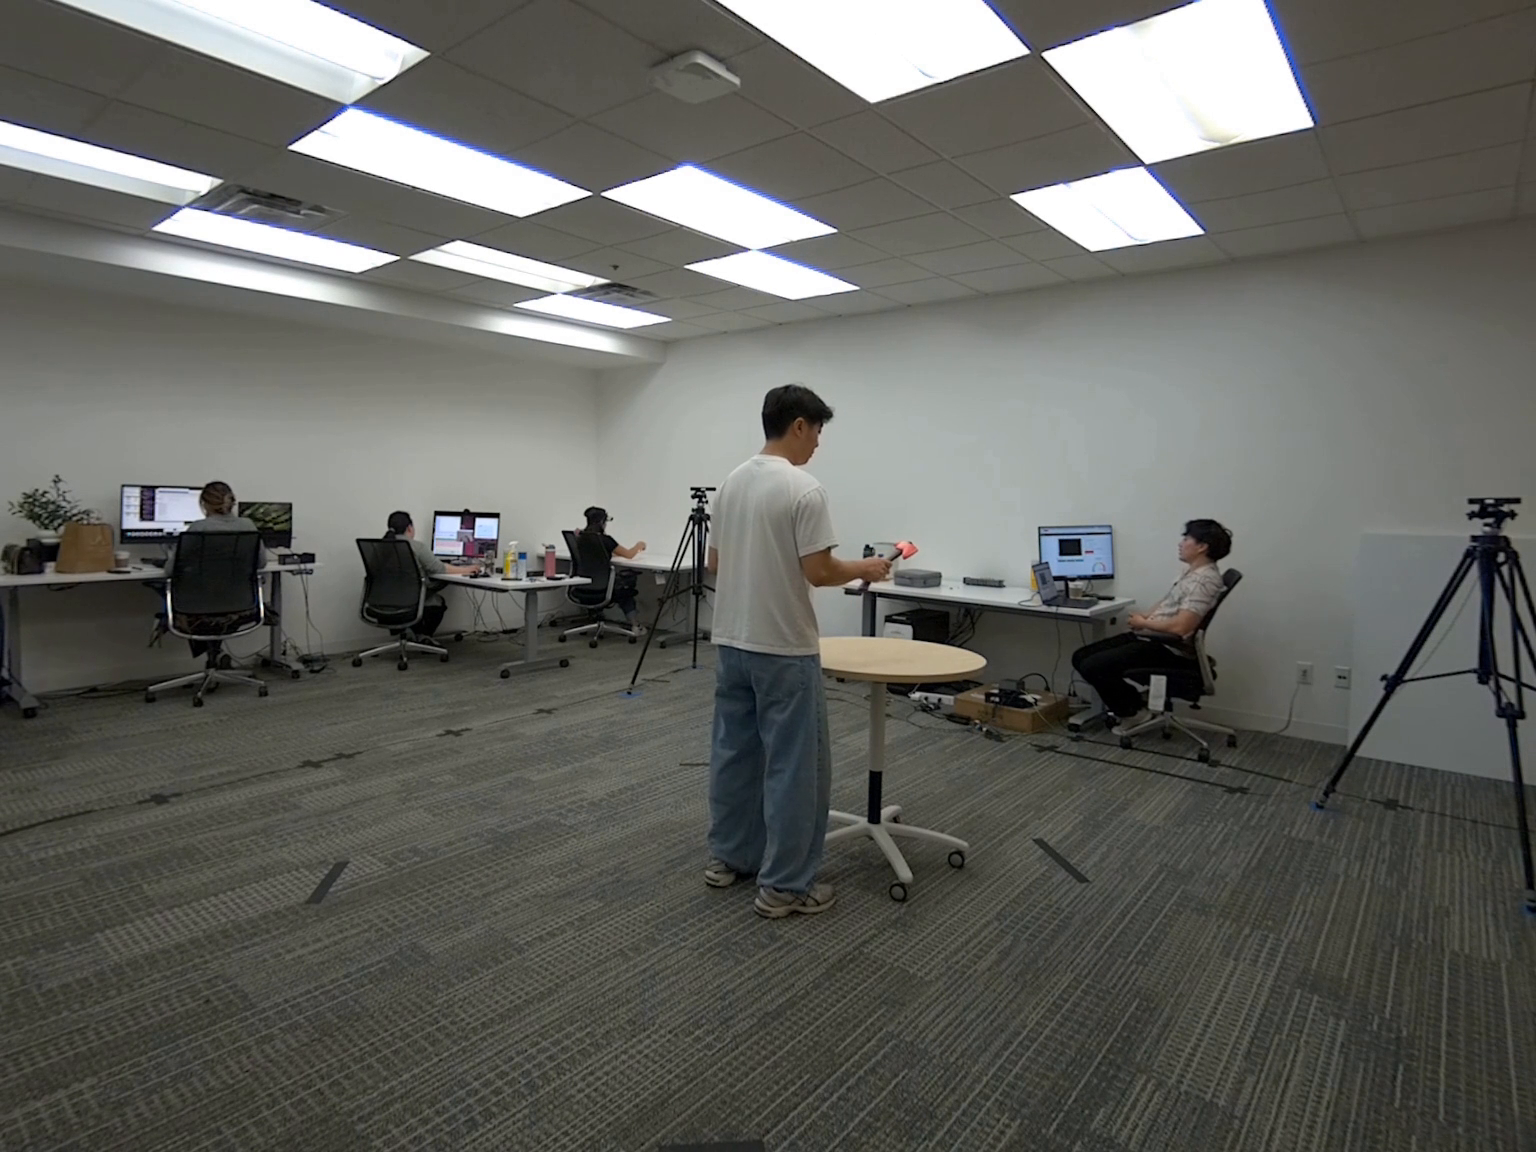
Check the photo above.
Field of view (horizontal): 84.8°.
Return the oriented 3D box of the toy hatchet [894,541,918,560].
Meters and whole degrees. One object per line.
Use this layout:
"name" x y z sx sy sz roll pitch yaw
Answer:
"toy hatchet" 0.416 -0.033 2.928 0.135 0.028 0.270 4 43 48
